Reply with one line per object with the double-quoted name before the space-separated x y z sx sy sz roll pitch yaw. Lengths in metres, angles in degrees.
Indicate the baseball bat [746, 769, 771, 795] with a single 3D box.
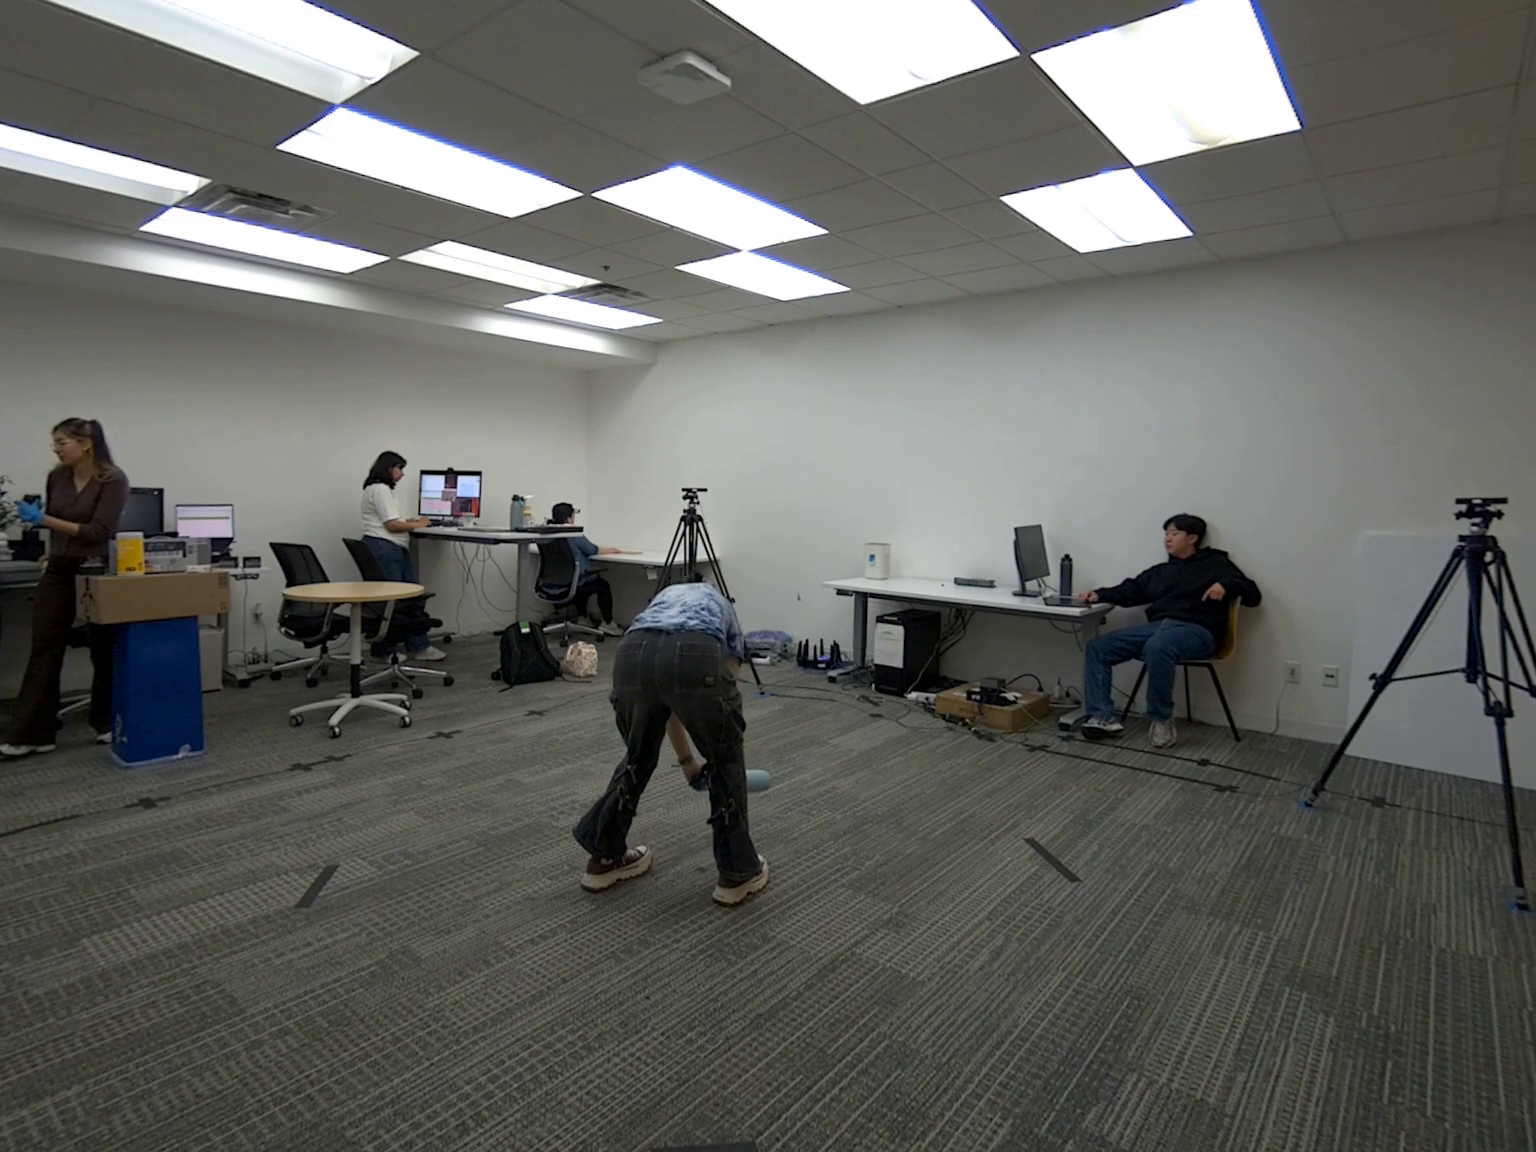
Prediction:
"baseball bat" -0.163 0.799 3.329 0.092 0.090 0.522 4 -12 32
